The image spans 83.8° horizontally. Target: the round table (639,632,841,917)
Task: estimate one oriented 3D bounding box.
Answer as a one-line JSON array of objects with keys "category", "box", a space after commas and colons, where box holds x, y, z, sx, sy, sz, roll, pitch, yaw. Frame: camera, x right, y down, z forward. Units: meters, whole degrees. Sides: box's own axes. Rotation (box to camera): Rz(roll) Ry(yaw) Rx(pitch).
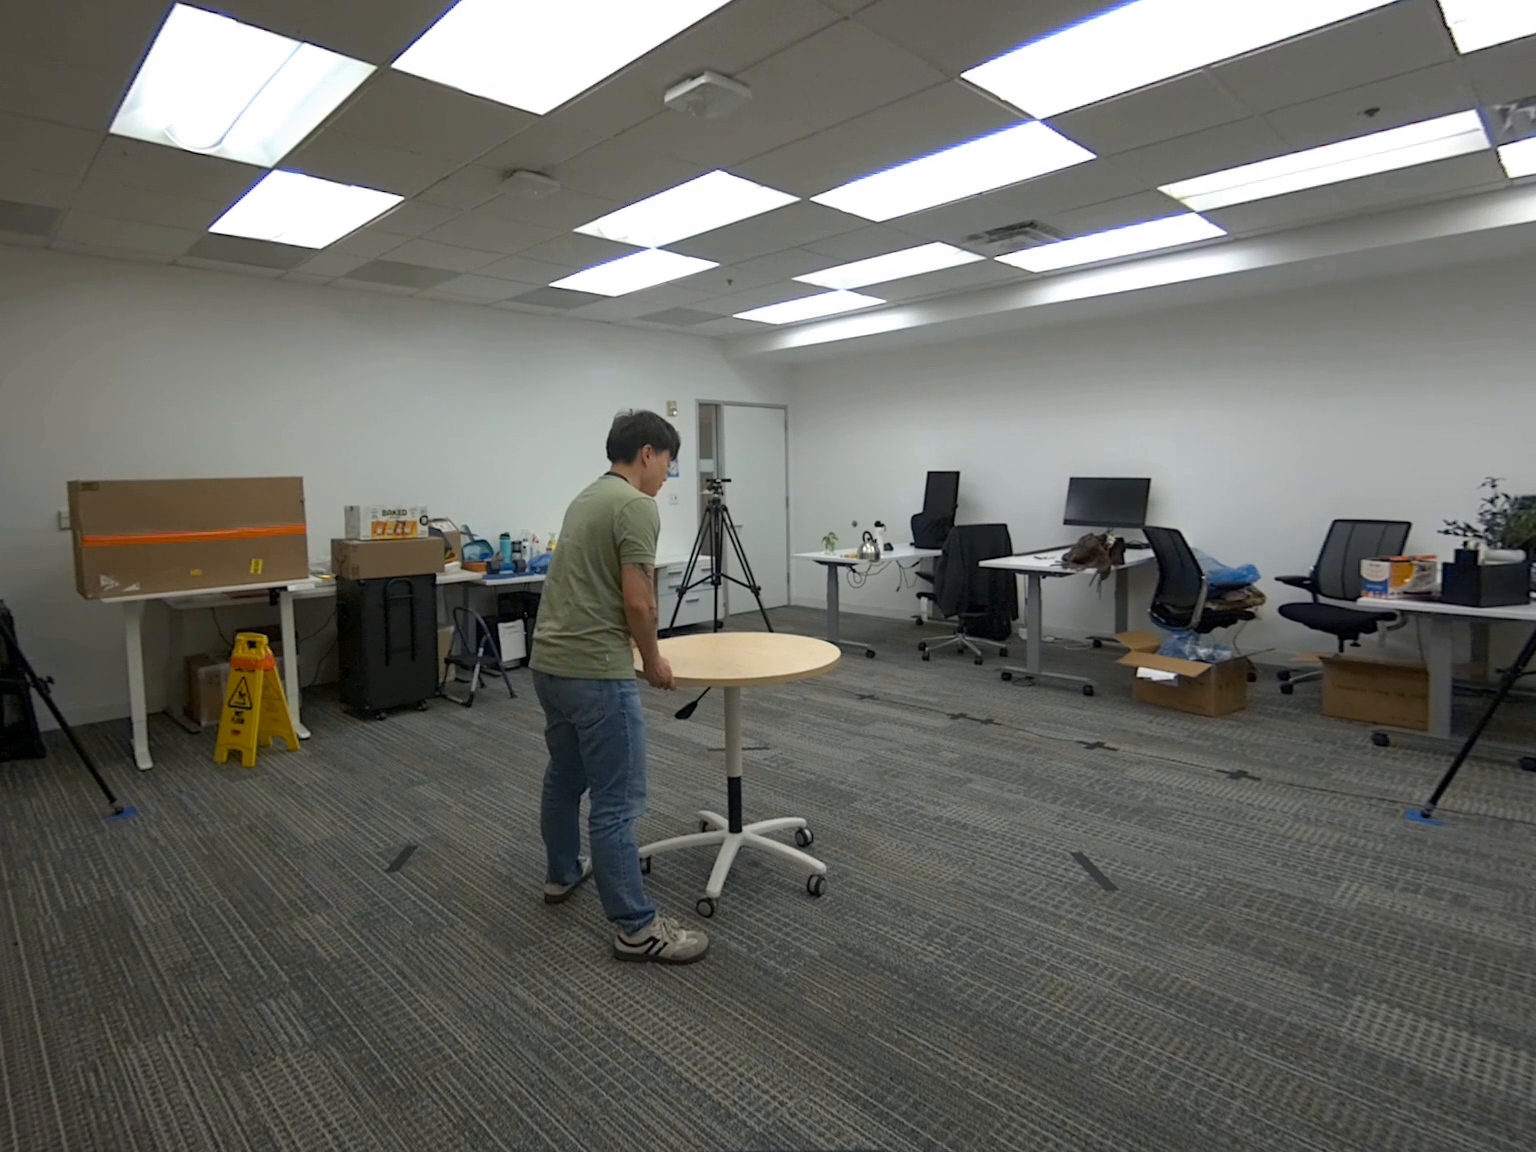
[{"category": "round table", "box": [-0.122, 0.664, 3.035, 0.763, 0.791, 0.768, -1, 5, -2]}]
